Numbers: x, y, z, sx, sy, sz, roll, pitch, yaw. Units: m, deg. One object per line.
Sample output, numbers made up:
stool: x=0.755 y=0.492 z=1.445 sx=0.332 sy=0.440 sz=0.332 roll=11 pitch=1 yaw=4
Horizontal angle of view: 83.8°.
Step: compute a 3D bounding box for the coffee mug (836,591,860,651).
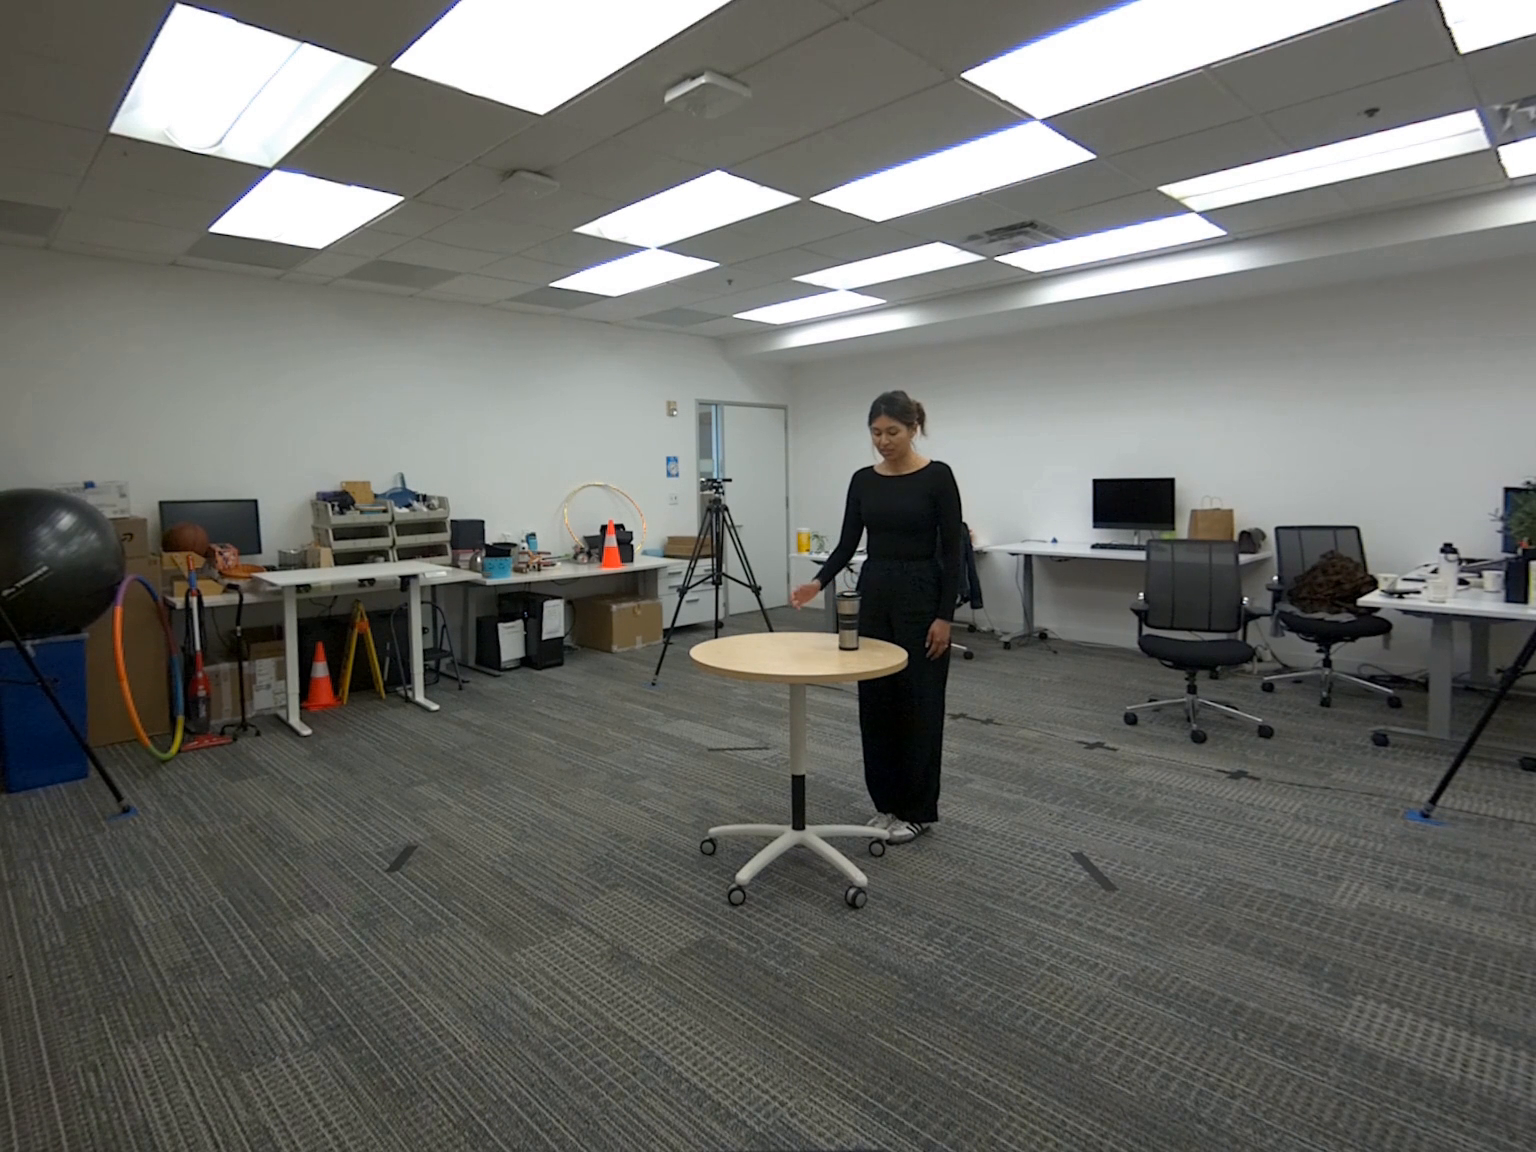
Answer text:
coffee mug: x=0.307 y=0.162 z=3.064 sx=0.090 sy=0.202 sz=0.119 roll=0 pitch=7 yaw=45
